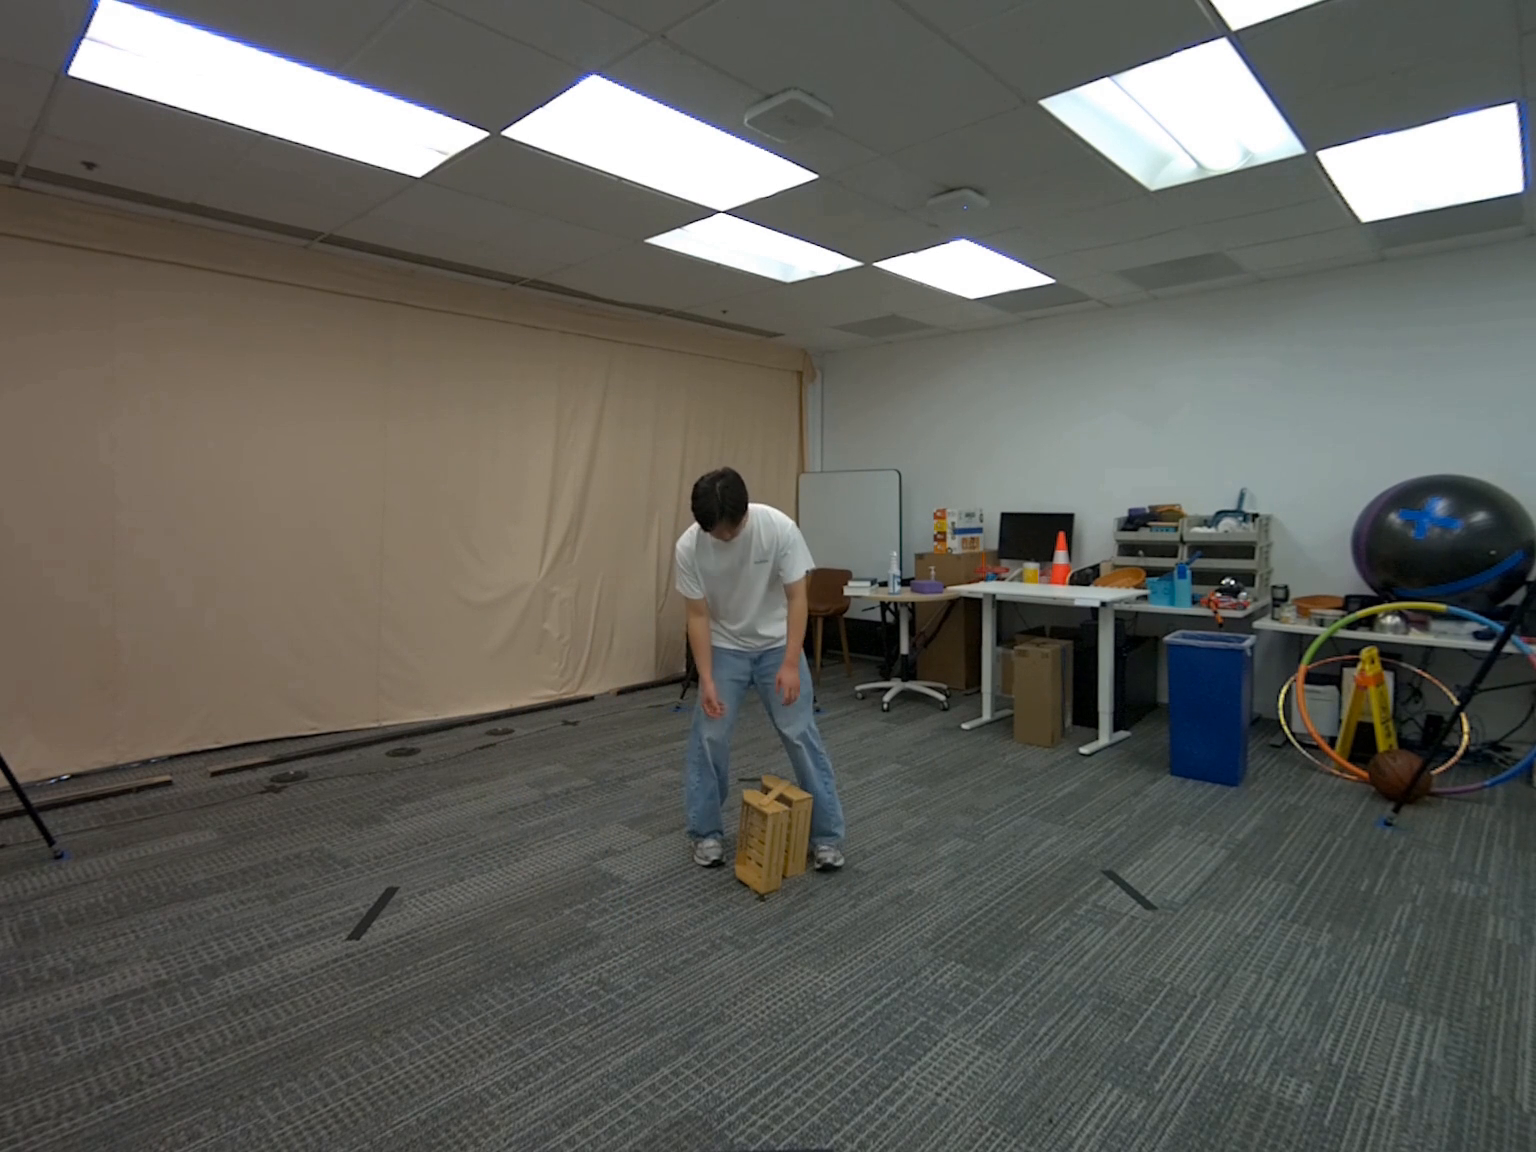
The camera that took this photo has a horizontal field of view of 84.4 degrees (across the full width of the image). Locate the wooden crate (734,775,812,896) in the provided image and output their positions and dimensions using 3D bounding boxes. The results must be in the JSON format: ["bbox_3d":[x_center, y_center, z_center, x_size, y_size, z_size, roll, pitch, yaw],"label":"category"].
[{"bbox_3d":[-0.008,0.962,3.173,0.264,0.323,0.313,2,7,-40],"label":"wooden crate"}]
